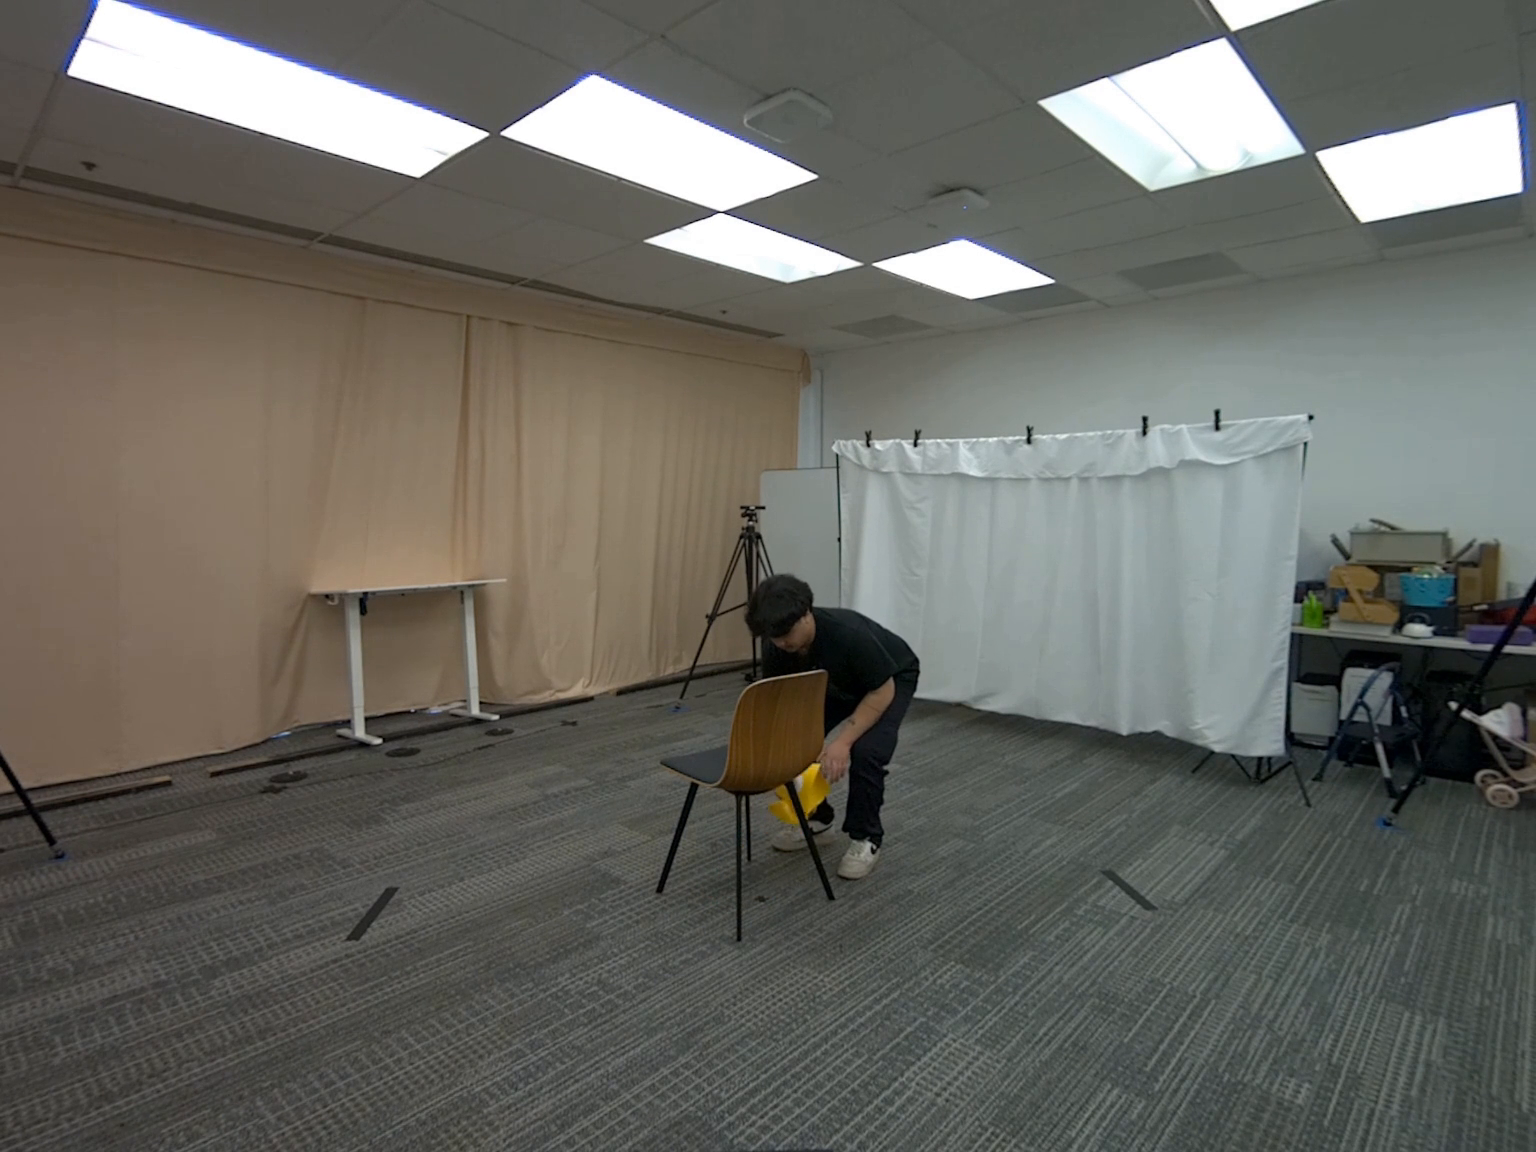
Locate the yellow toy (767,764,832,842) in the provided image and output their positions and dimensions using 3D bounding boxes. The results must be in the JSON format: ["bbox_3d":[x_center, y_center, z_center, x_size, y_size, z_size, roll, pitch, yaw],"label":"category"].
[{"bbox_3d":[0.135,0.784,3.211,0.198,0.229,0.200,25,24,24],"label":"yellow toy"}]
